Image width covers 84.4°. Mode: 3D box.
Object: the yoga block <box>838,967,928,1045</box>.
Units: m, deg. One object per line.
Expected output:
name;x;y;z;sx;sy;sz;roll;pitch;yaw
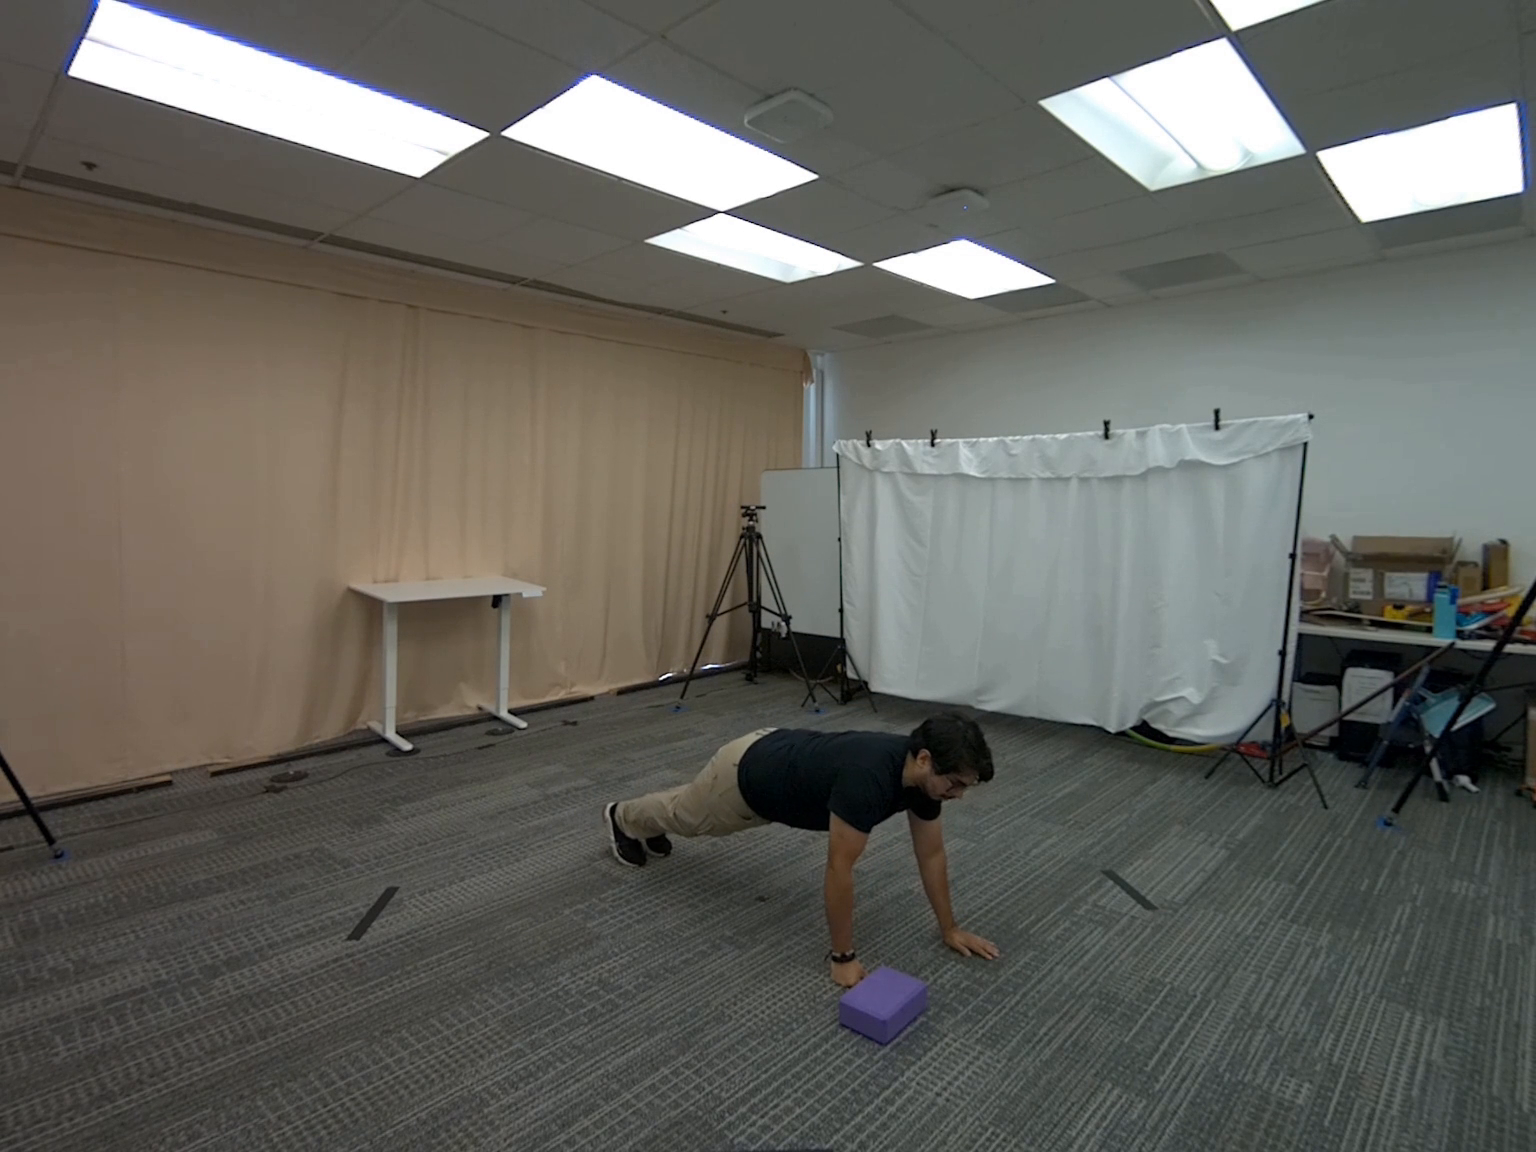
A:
yoga block;0.320;1.161;2.290;0.154;0.076;0.222;5;6;40
